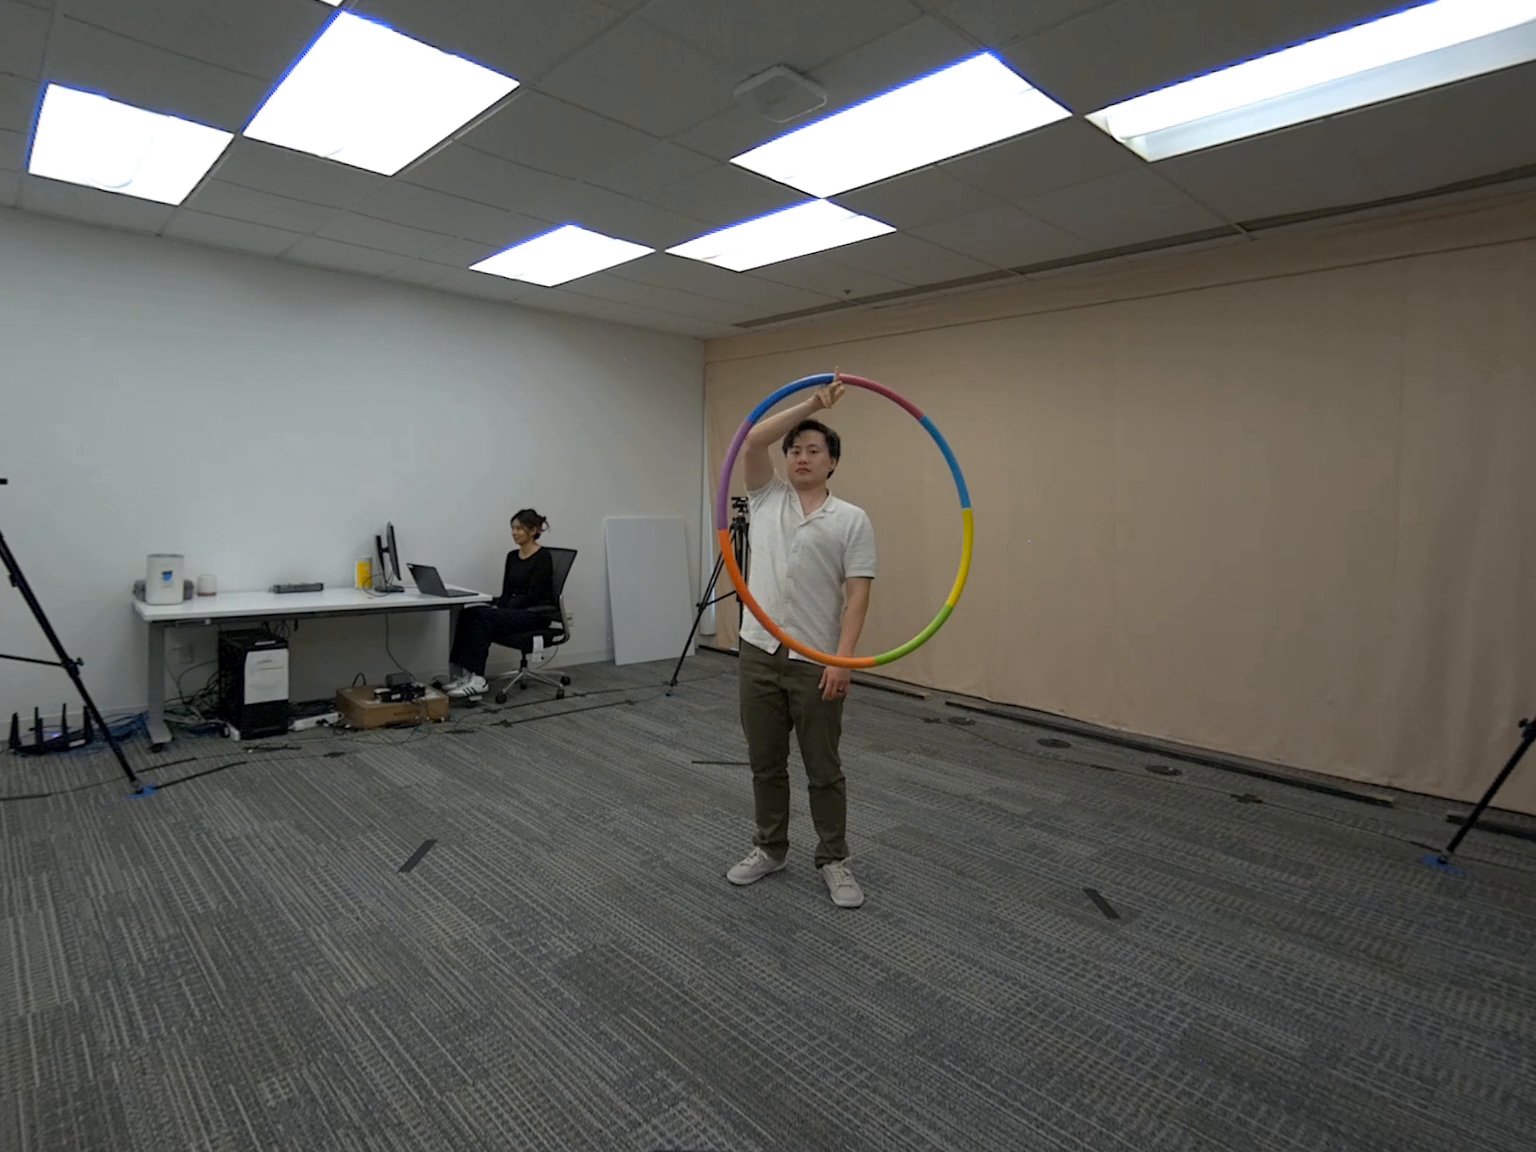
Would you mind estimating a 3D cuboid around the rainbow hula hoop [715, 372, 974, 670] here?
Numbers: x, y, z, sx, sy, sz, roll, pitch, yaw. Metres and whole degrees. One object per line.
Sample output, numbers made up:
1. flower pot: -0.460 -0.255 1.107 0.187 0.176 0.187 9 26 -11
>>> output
1. rainbow hula hoop: 0.273 -0.185 2.819 0.961 0.983 0.036 -1 -7 -25
